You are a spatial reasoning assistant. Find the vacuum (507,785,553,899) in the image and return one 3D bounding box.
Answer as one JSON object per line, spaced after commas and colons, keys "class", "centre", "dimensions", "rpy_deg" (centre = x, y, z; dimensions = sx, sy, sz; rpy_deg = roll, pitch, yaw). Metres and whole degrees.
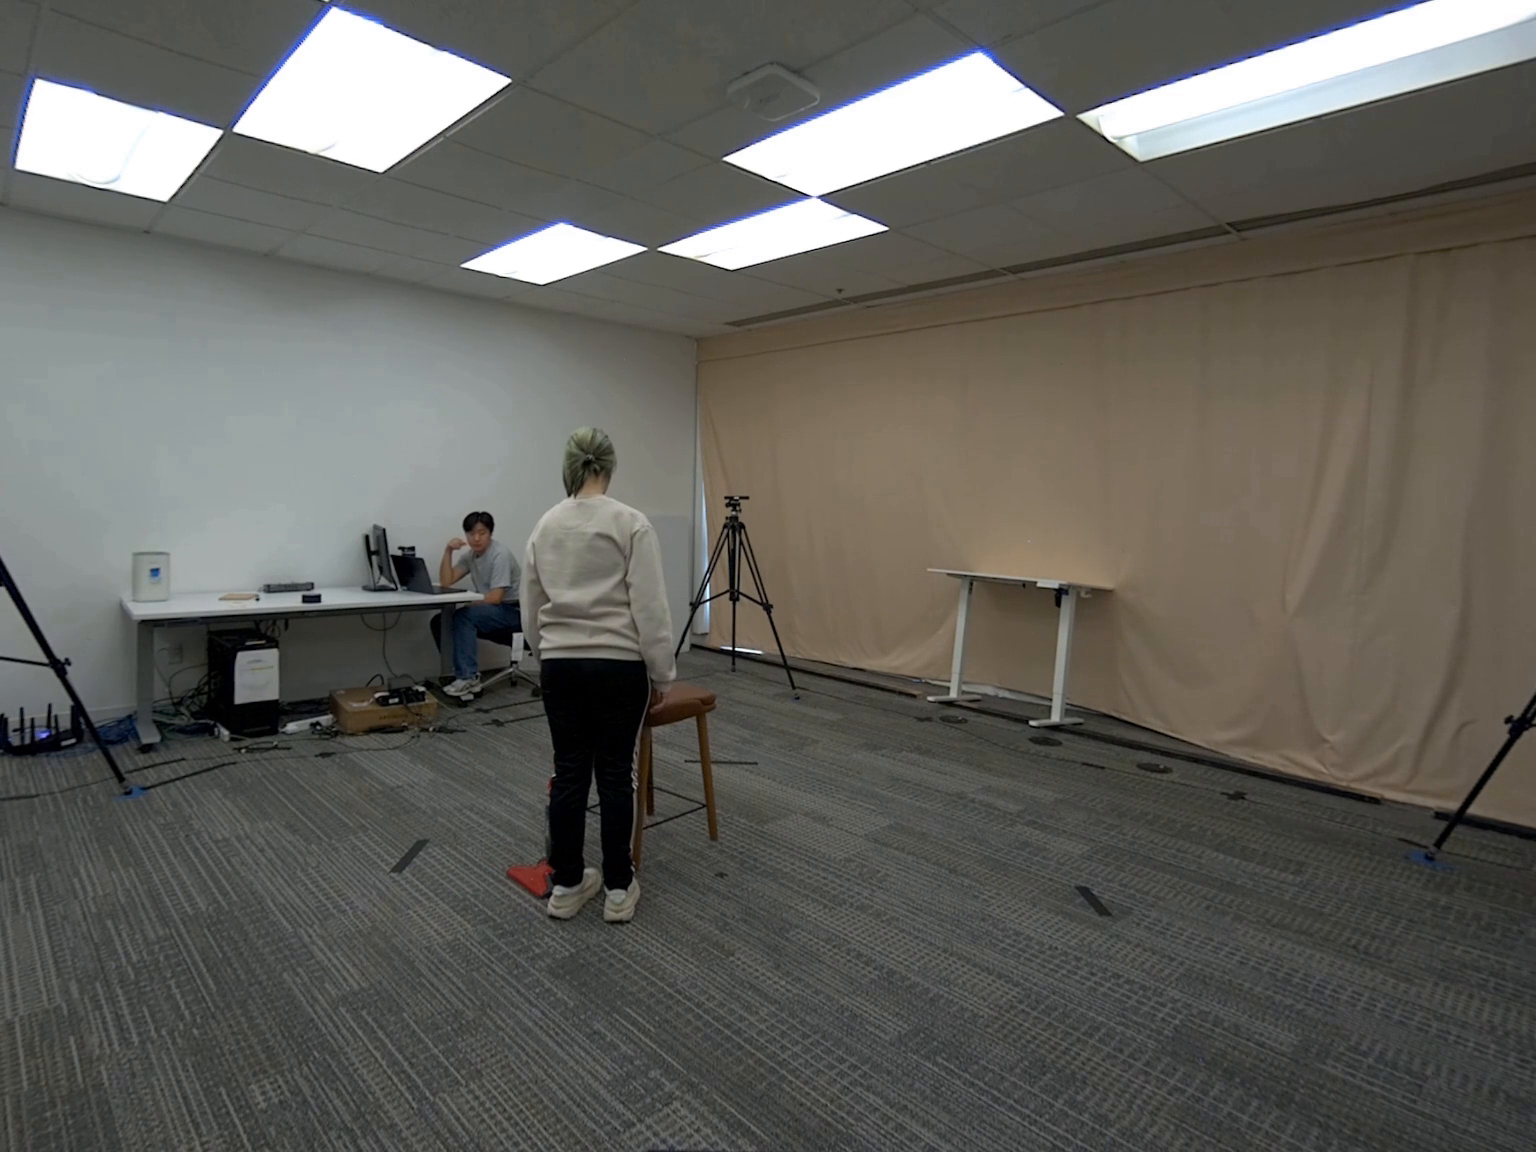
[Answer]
{"class": "vacuum", "centre": [-0.723, 0.594, 3.086], "dimensions": [0.259, 1.054, 0.140], "rpy_deg": [6, -9, 34]}
